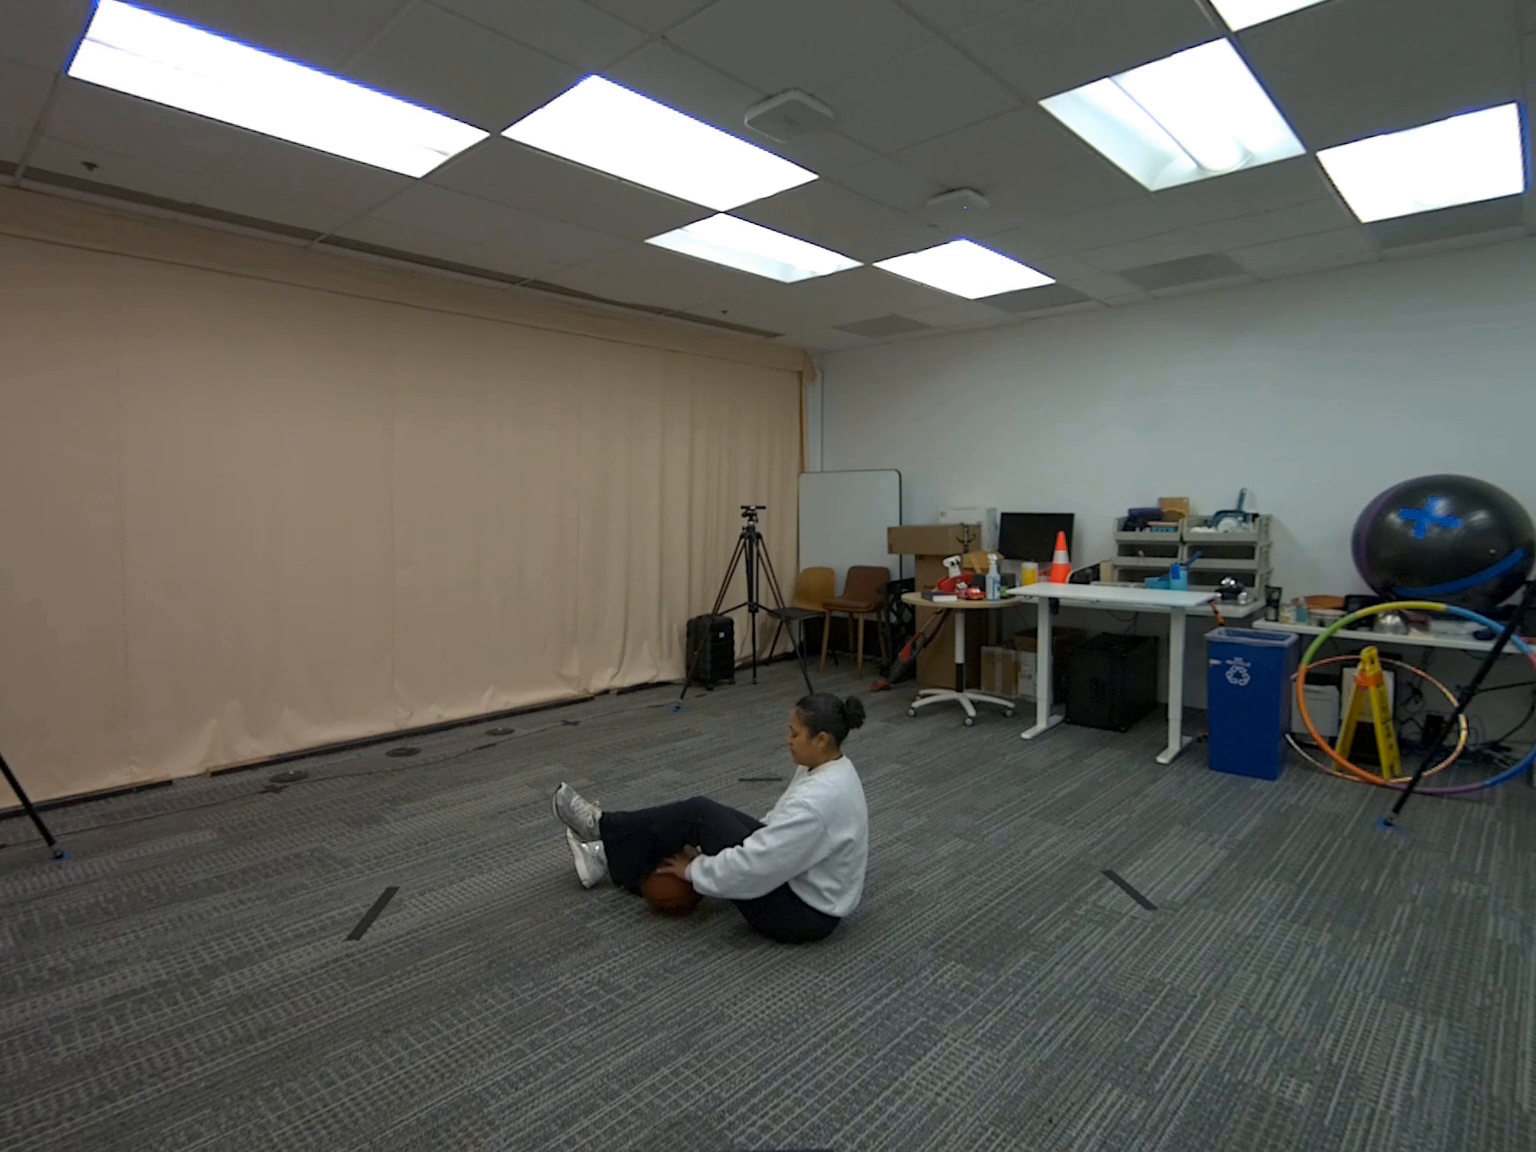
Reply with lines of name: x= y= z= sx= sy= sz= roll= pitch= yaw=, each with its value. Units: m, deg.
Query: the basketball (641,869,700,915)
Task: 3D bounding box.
basketball: x=-0.317 y=1.029 z=2.886 sx=0.236 sy=0.235 sz=0.237 roll=0 pitch=4 yaw=-2
